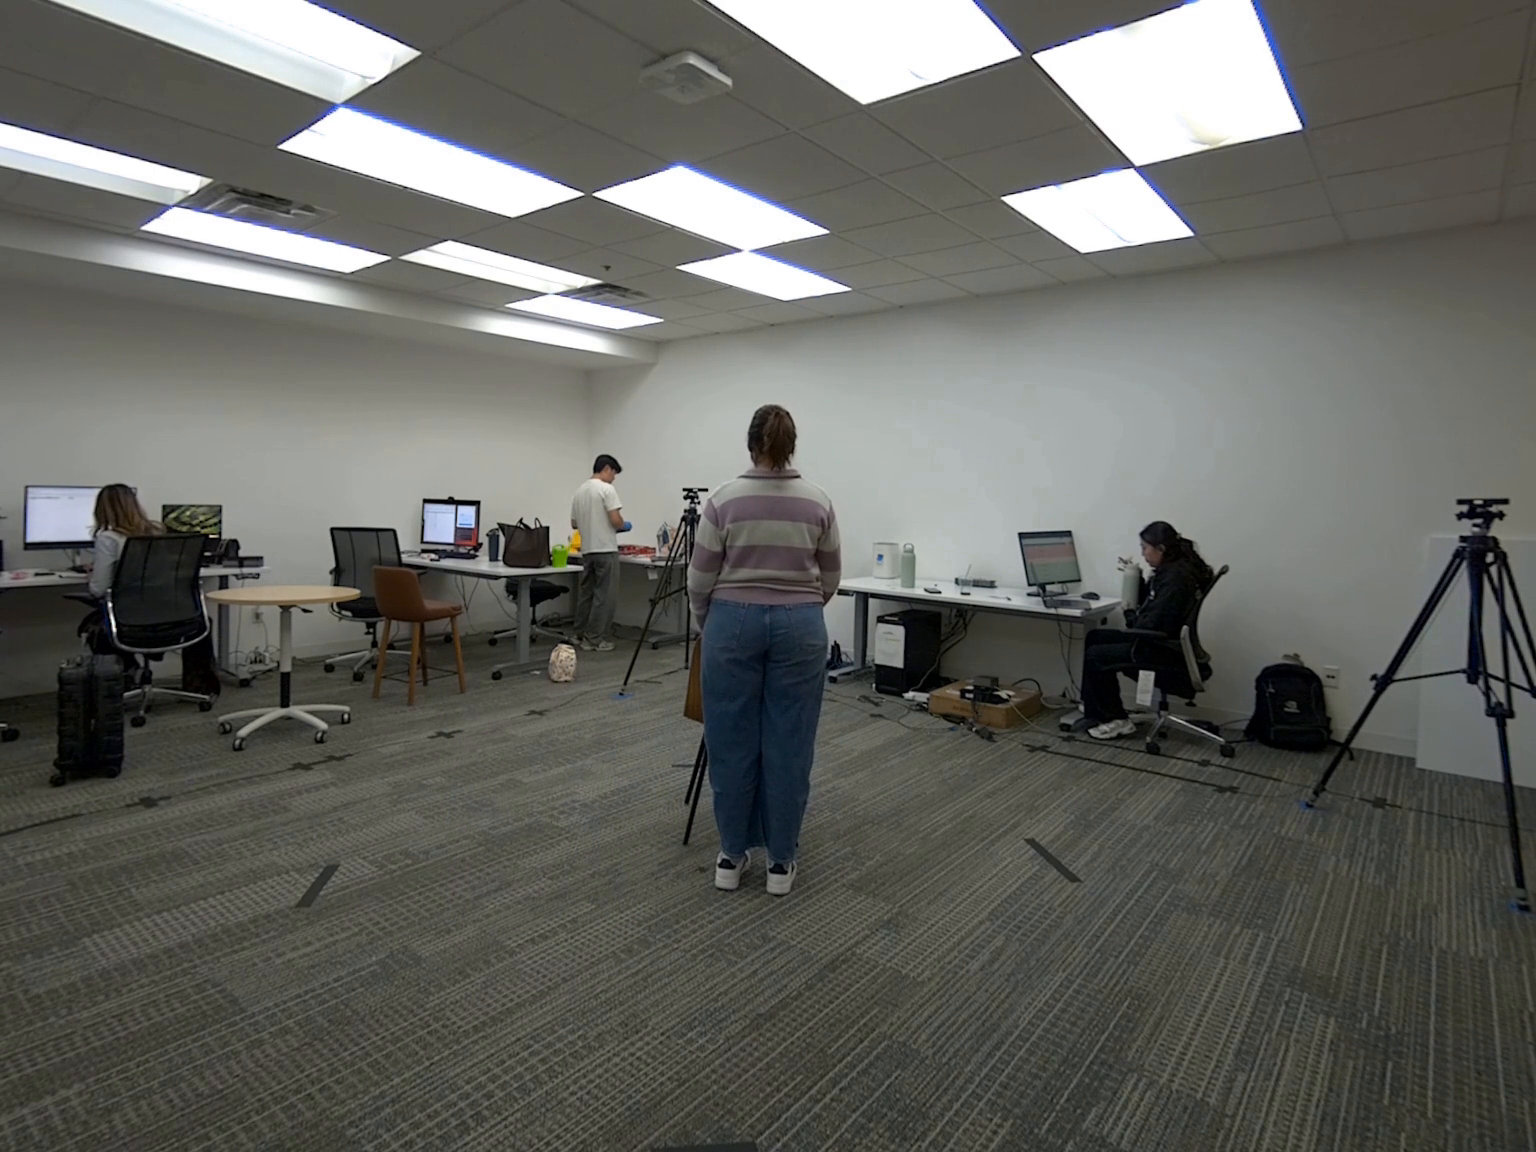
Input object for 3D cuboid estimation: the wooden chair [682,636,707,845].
[{"bbox_3d":[-0.134,0.595,3.524,0.477,0.871,0.528,0,8,-3],"label":"wooden chair"}]
